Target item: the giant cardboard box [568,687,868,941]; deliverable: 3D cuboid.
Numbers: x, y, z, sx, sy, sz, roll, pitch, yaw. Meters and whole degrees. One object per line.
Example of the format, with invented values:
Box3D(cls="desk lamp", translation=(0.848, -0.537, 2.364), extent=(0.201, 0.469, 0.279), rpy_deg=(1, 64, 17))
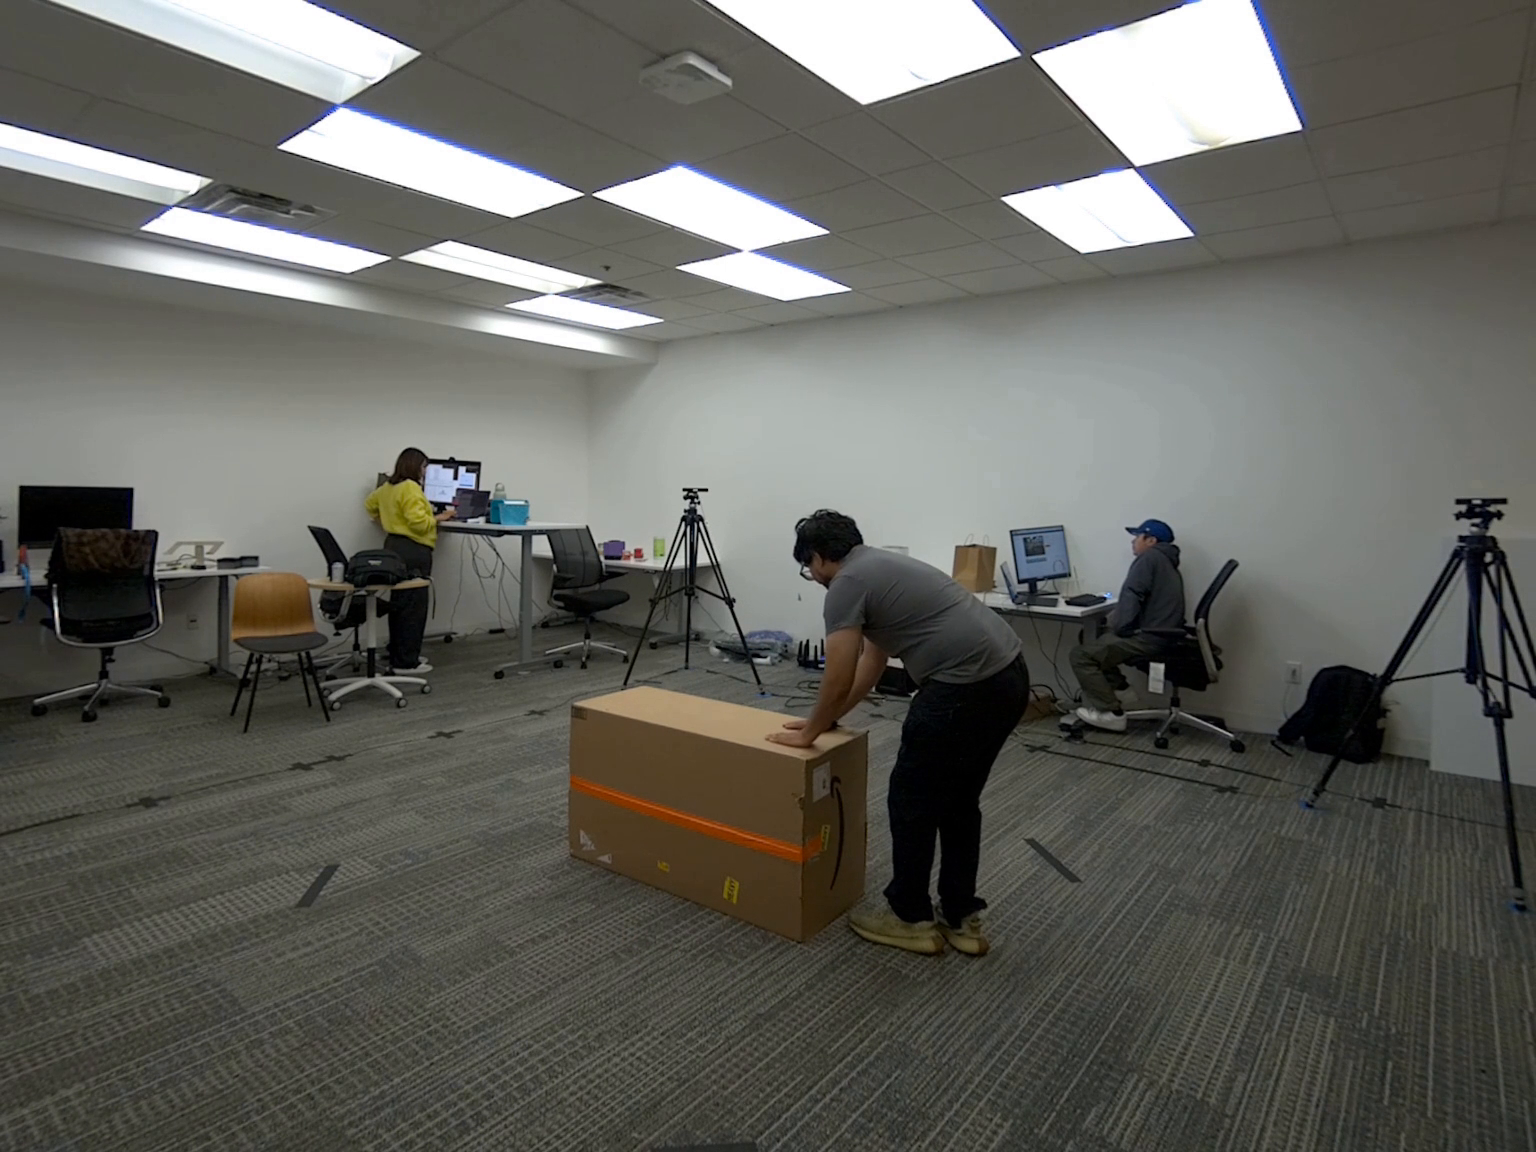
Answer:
Box3D(cls="giant cardboard box", translation=(-0.216, 0.786, 3.057), extent=(1.059, 0.576, 0.414), rpy_deg=(4, 5, 35))
